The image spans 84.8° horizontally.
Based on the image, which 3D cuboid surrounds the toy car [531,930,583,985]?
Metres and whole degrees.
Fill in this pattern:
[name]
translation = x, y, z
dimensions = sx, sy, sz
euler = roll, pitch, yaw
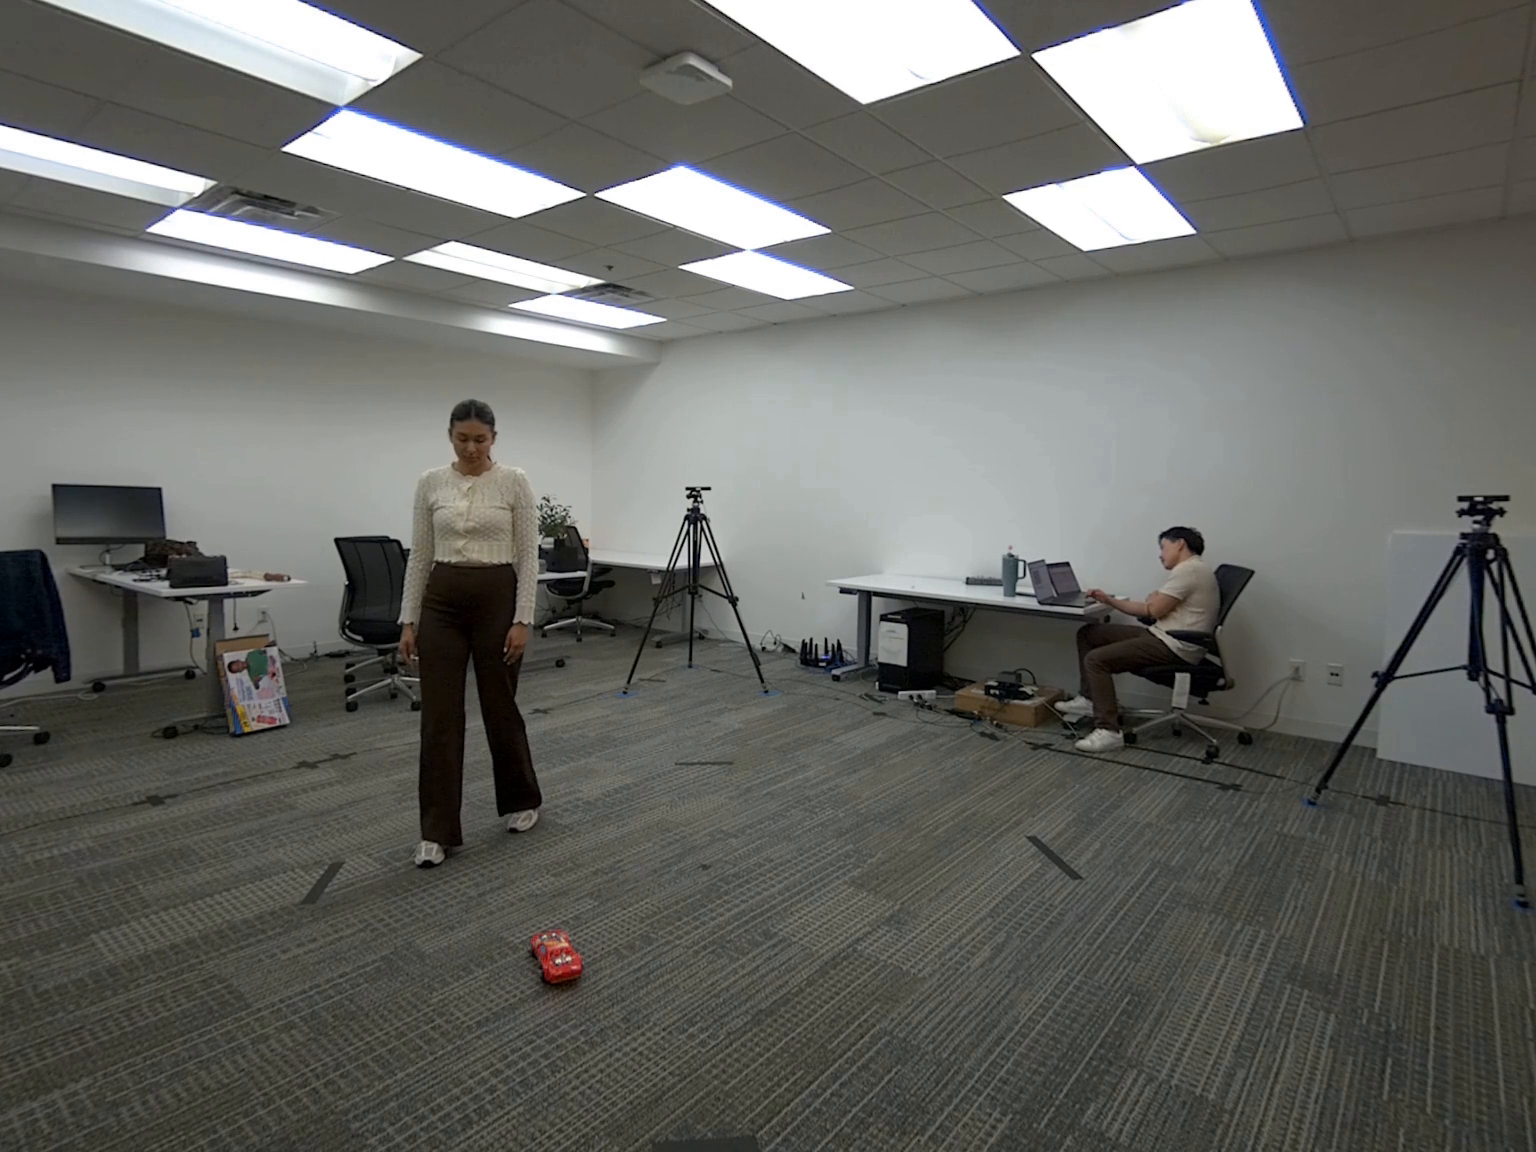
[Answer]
[toy car]
translation = -0.616, 1.095, 2.441
dimensions = 0.127, 0.084, 0.259
euler = -2, -5, -26
